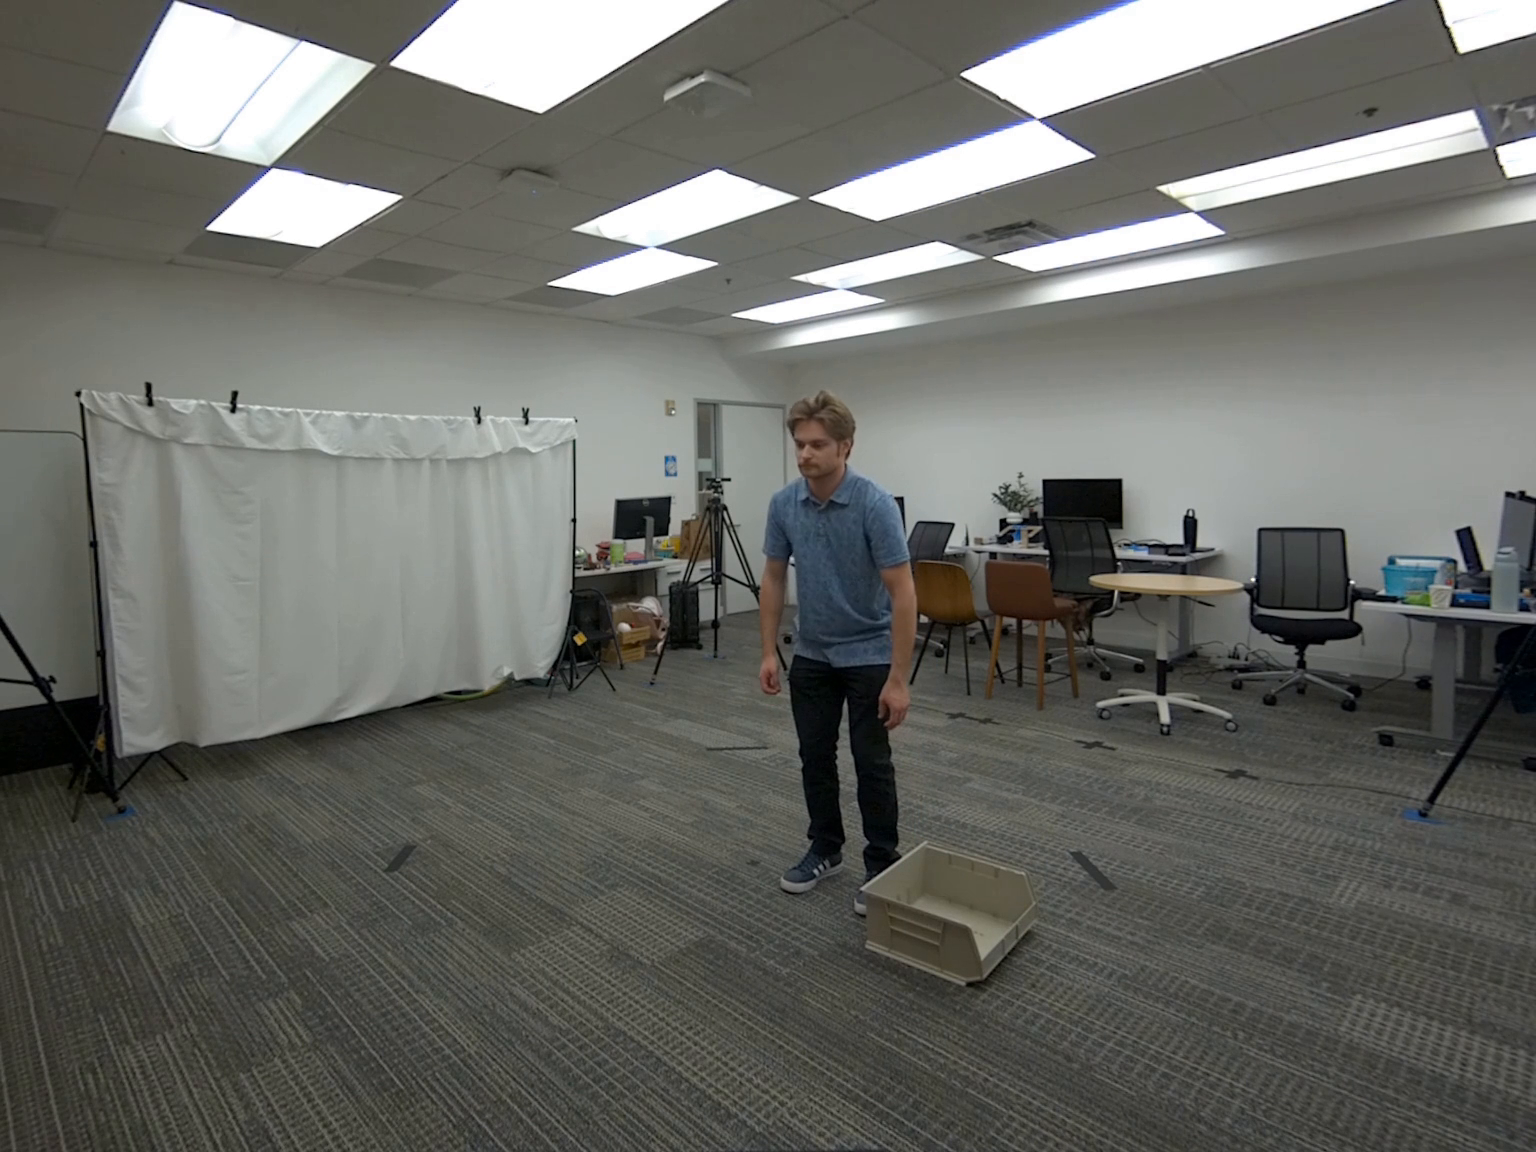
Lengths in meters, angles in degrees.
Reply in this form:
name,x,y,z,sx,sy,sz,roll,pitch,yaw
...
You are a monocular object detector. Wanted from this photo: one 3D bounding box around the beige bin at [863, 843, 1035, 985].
name,x,y,z,sx,sy,sz,roll,pitch,yaw
beige bin,0.554,1.004,2.563,0.388,0.188,0.412,2,6,39
